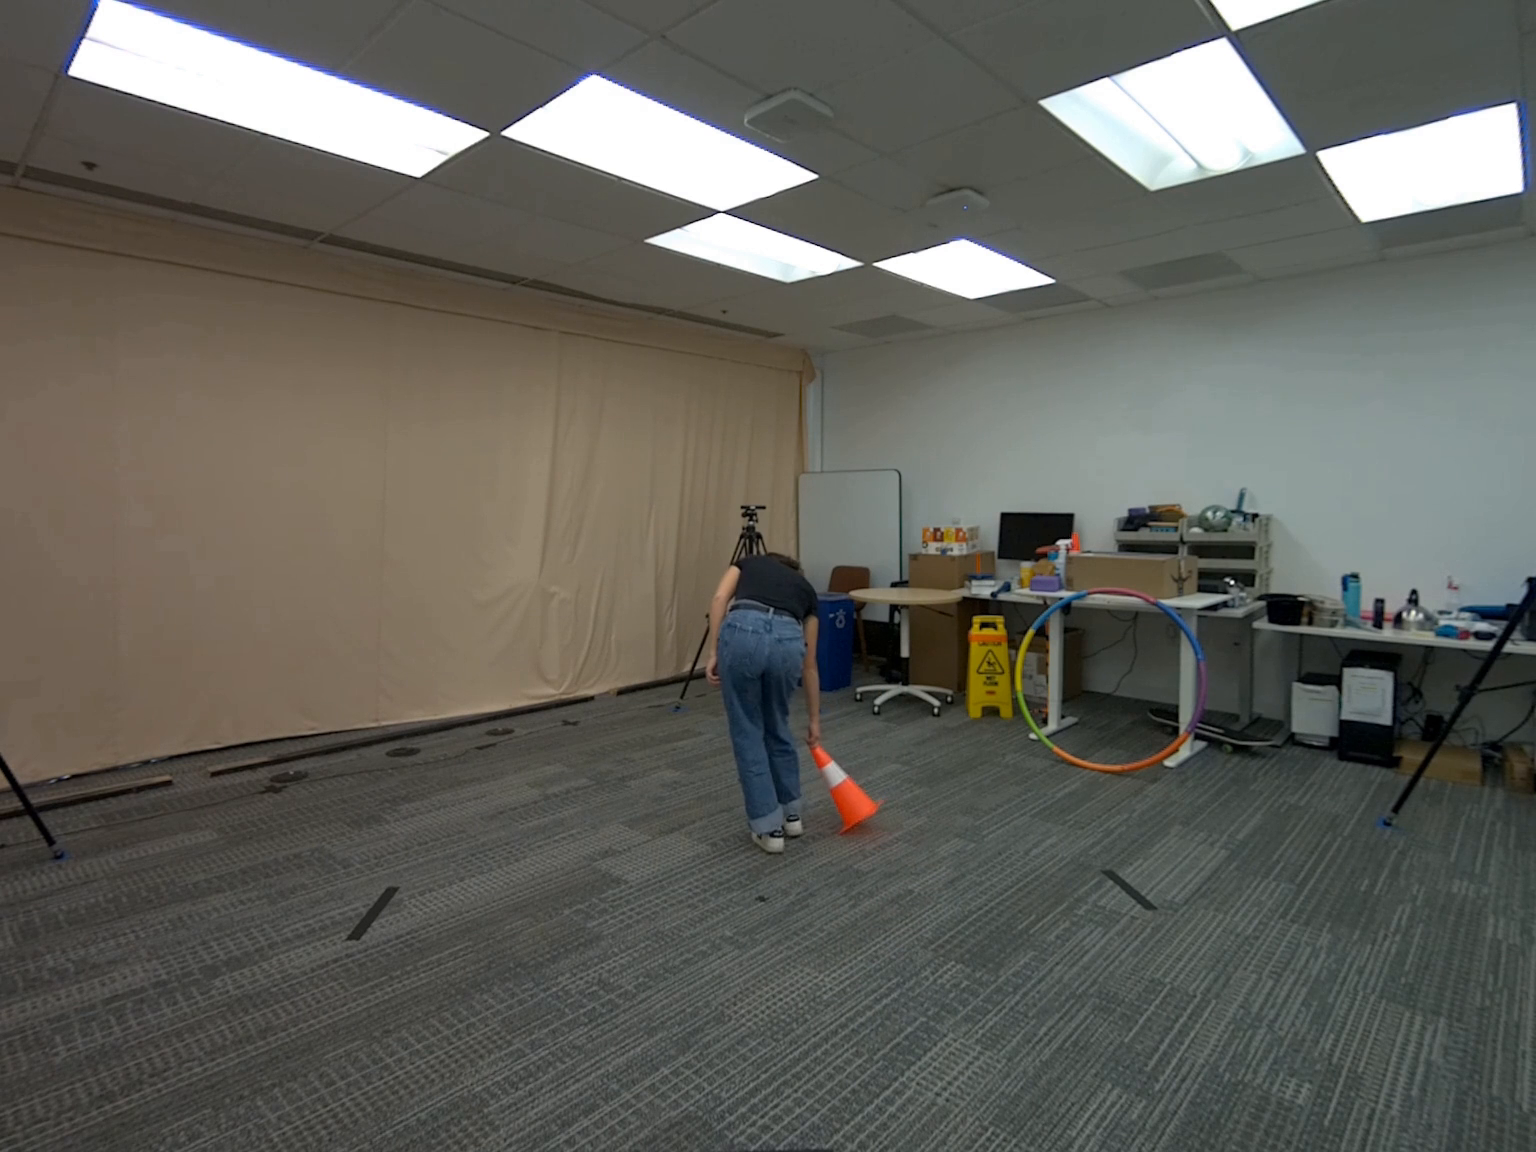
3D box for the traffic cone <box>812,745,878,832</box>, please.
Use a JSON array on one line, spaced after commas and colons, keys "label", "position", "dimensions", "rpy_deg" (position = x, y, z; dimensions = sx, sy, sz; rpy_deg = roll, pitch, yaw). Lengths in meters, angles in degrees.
[{"label": "traffic cone", "position": [0.307, 0.884, 3.649], "dimensions": [0.206, 0.389, 0.199], "rpy_deg": [-36, -11, 15]}]
